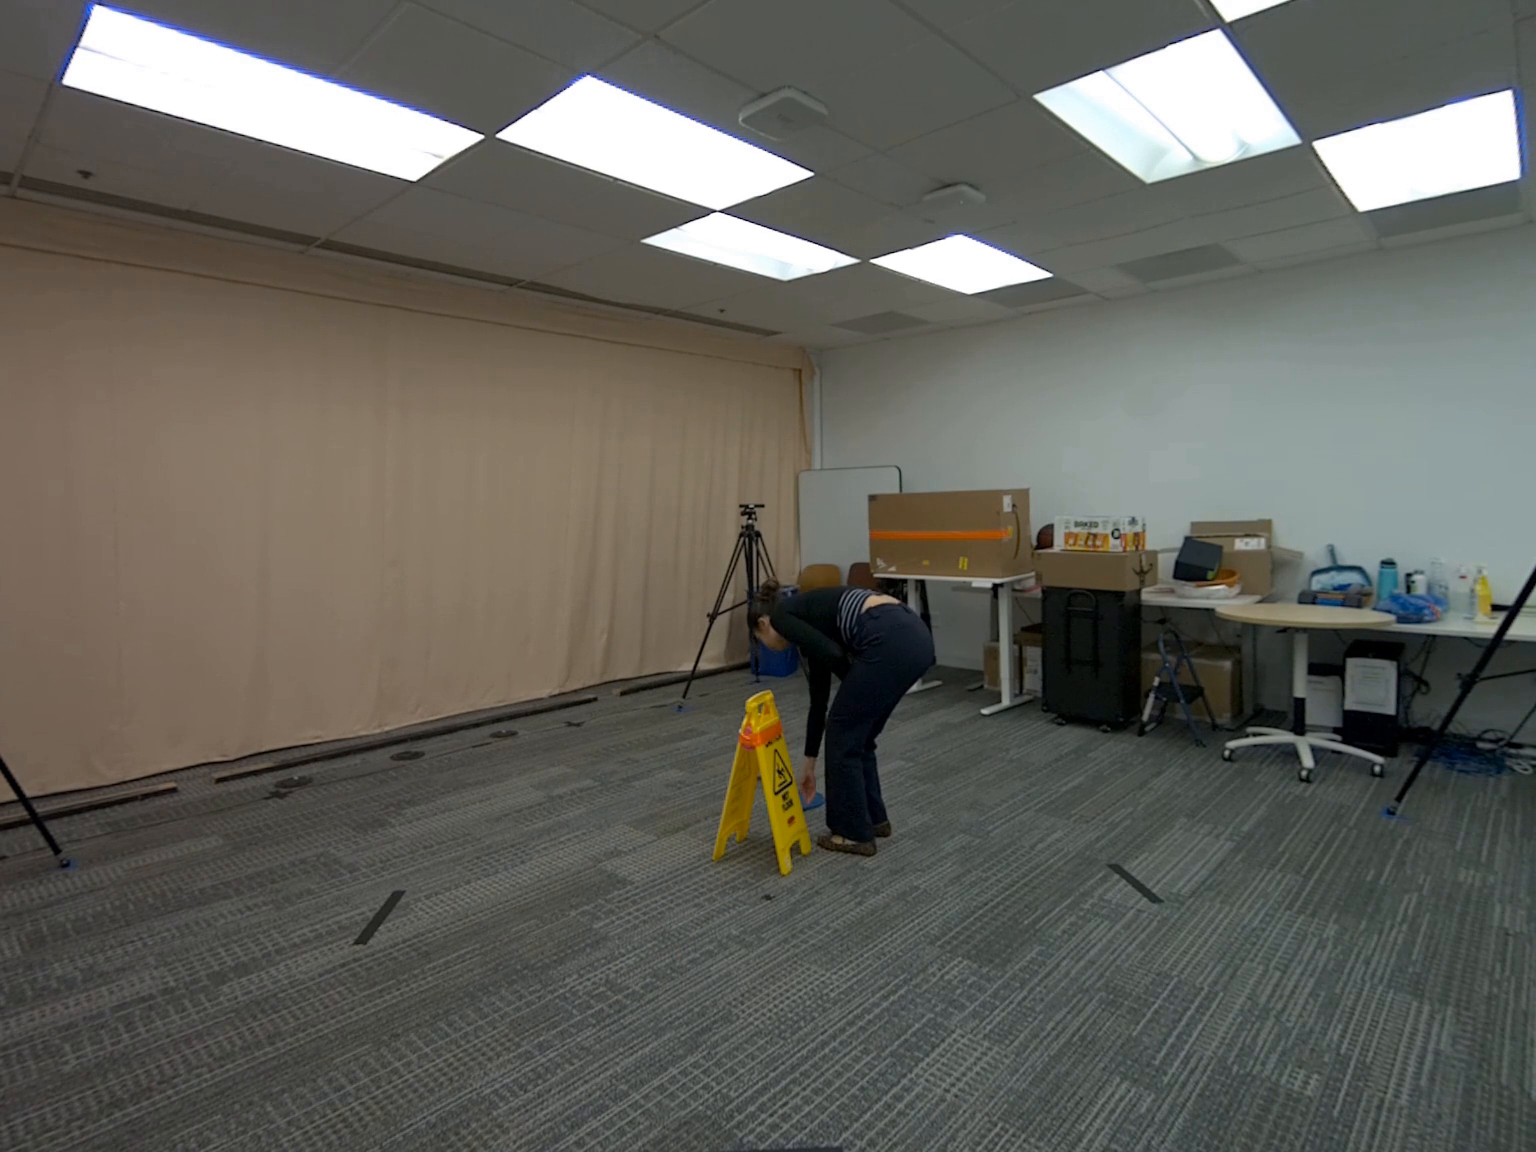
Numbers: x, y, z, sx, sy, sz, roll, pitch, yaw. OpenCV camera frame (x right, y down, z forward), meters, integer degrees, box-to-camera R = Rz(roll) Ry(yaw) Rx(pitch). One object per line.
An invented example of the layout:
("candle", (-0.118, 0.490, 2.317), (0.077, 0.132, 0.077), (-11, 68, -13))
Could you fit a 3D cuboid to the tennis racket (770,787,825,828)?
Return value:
("tennis racket", (0.143, 1.050, 3.864), (0.216, 0.032, 0.429), (-1, 3, 9))
